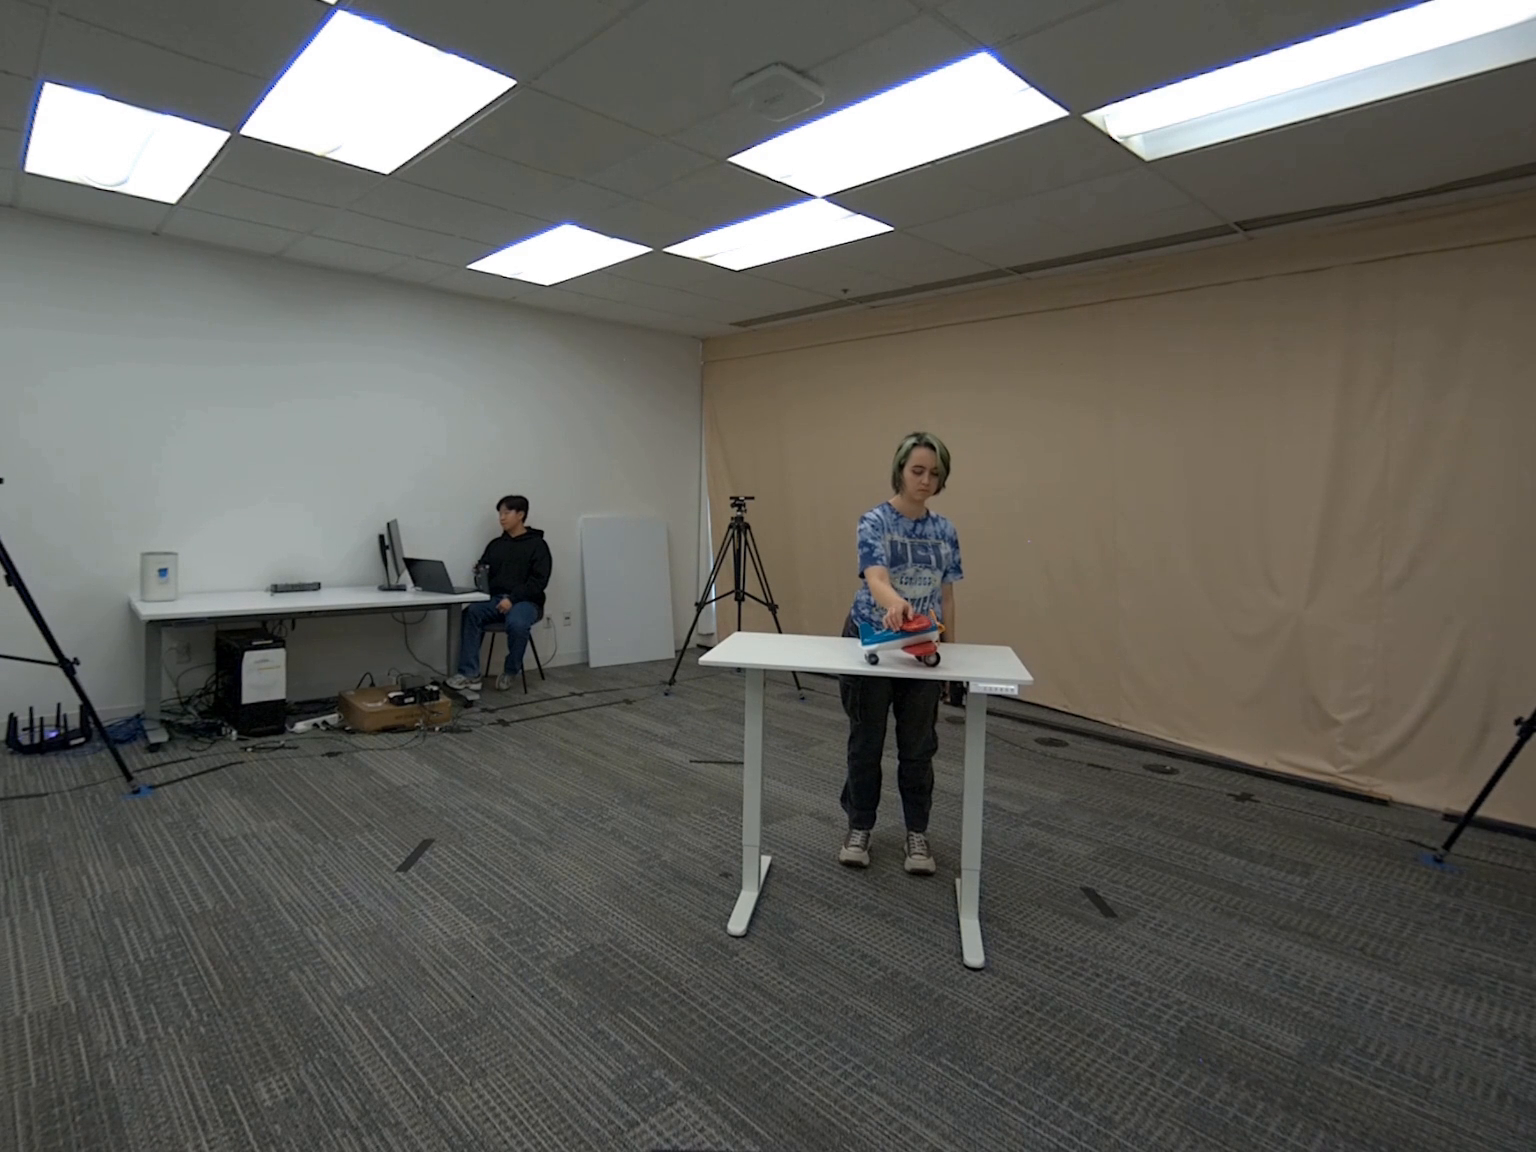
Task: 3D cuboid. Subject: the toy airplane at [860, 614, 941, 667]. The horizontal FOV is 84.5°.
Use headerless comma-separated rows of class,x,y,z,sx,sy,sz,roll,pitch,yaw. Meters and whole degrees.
toy airplane,0.416,0.203,2.614,0.254,0.156,0.257,0,5,-30
